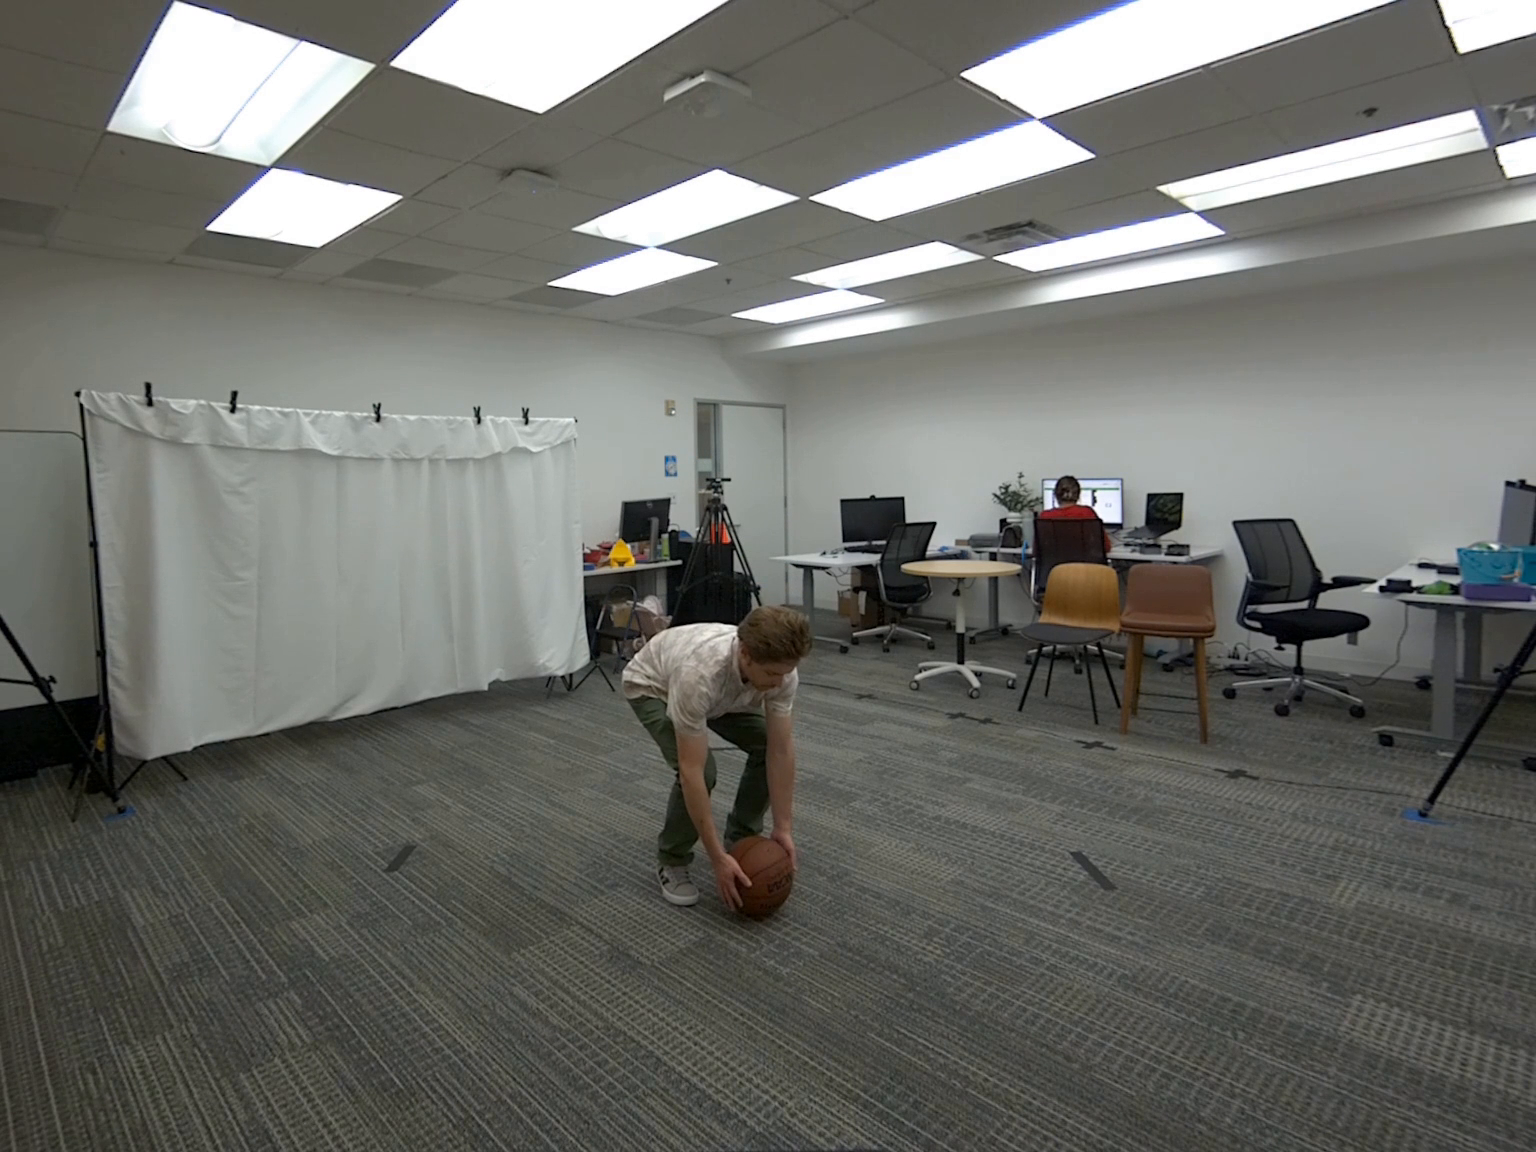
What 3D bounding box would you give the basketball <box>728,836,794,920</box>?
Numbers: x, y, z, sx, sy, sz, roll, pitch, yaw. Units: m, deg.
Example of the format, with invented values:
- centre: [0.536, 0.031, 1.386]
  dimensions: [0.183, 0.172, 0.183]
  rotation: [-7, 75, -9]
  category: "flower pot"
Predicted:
- centre: [-0.040, 0.958, 2.761]
  dimensions: [0.236, 0.235, 0.237]
  rotation: [-1, 5, -2]
  category: "basketball"
